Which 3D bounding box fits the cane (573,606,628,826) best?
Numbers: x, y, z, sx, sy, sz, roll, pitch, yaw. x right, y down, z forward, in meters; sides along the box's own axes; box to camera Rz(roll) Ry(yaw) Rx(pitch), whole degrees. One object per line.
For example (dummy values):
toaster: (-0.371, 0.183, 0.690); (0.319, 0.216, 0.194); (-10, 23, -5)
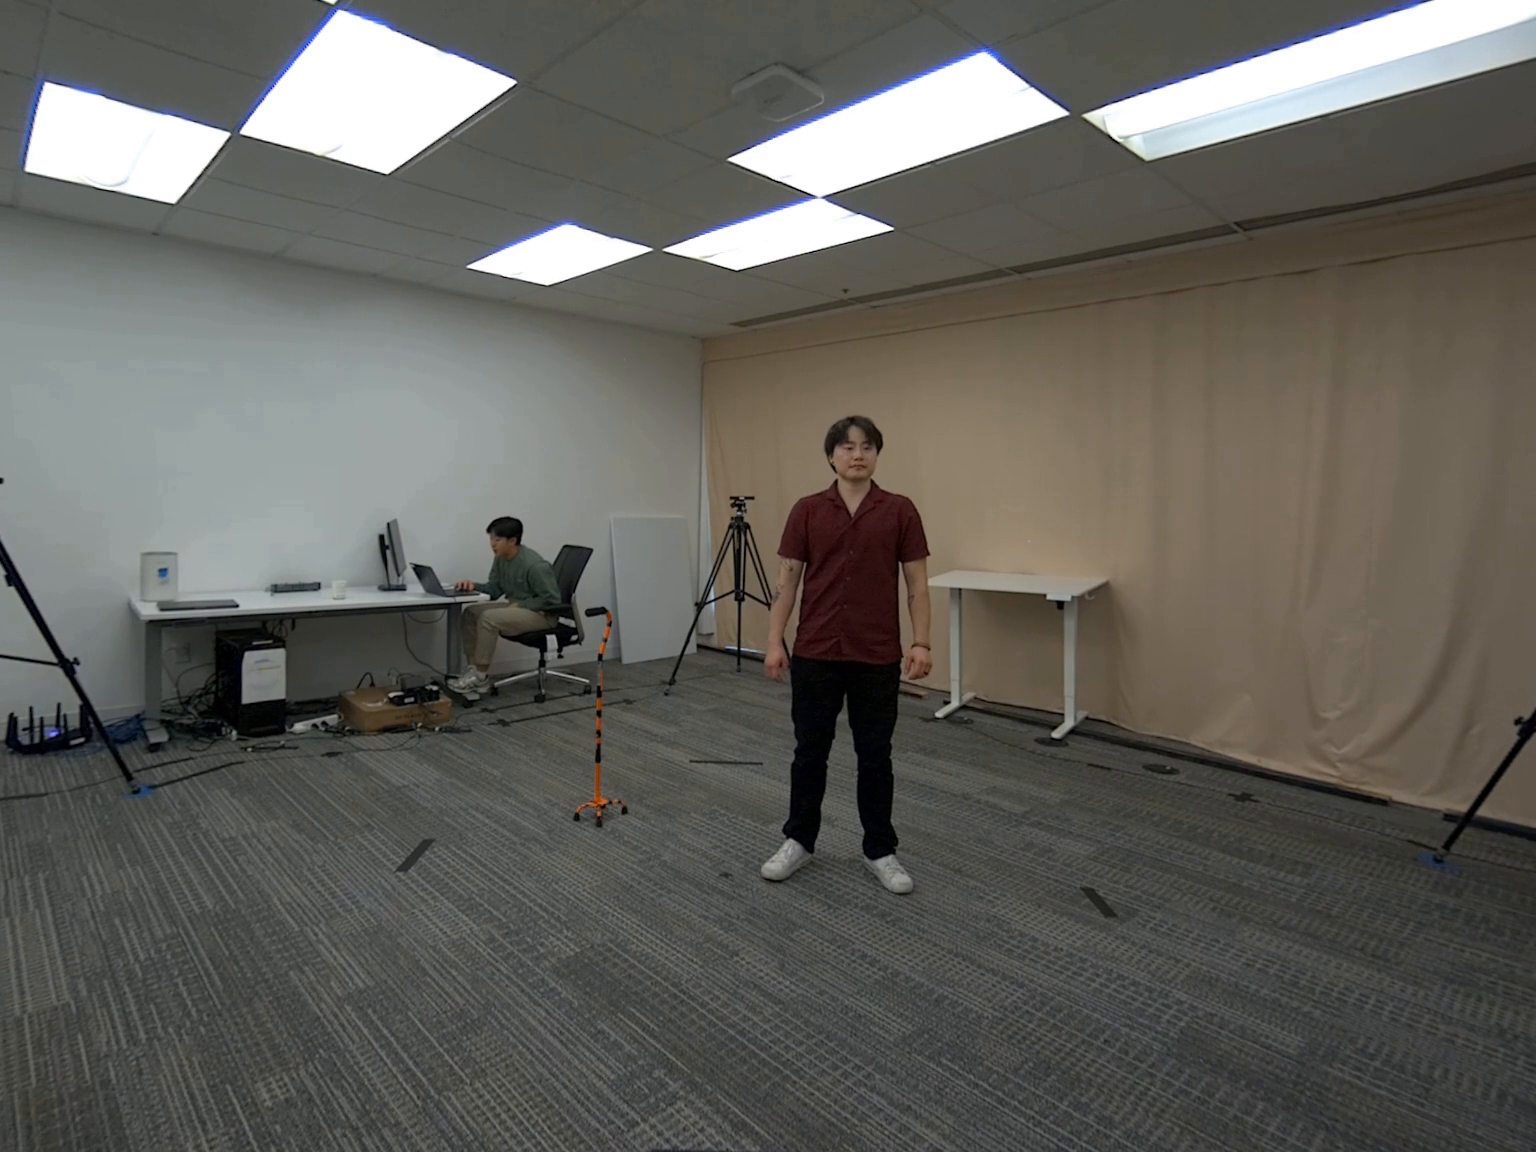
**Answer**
cane: (-0.717, 0.592, 3.629); (0.155, 0.907, 0.202); (2, 2, 27)
